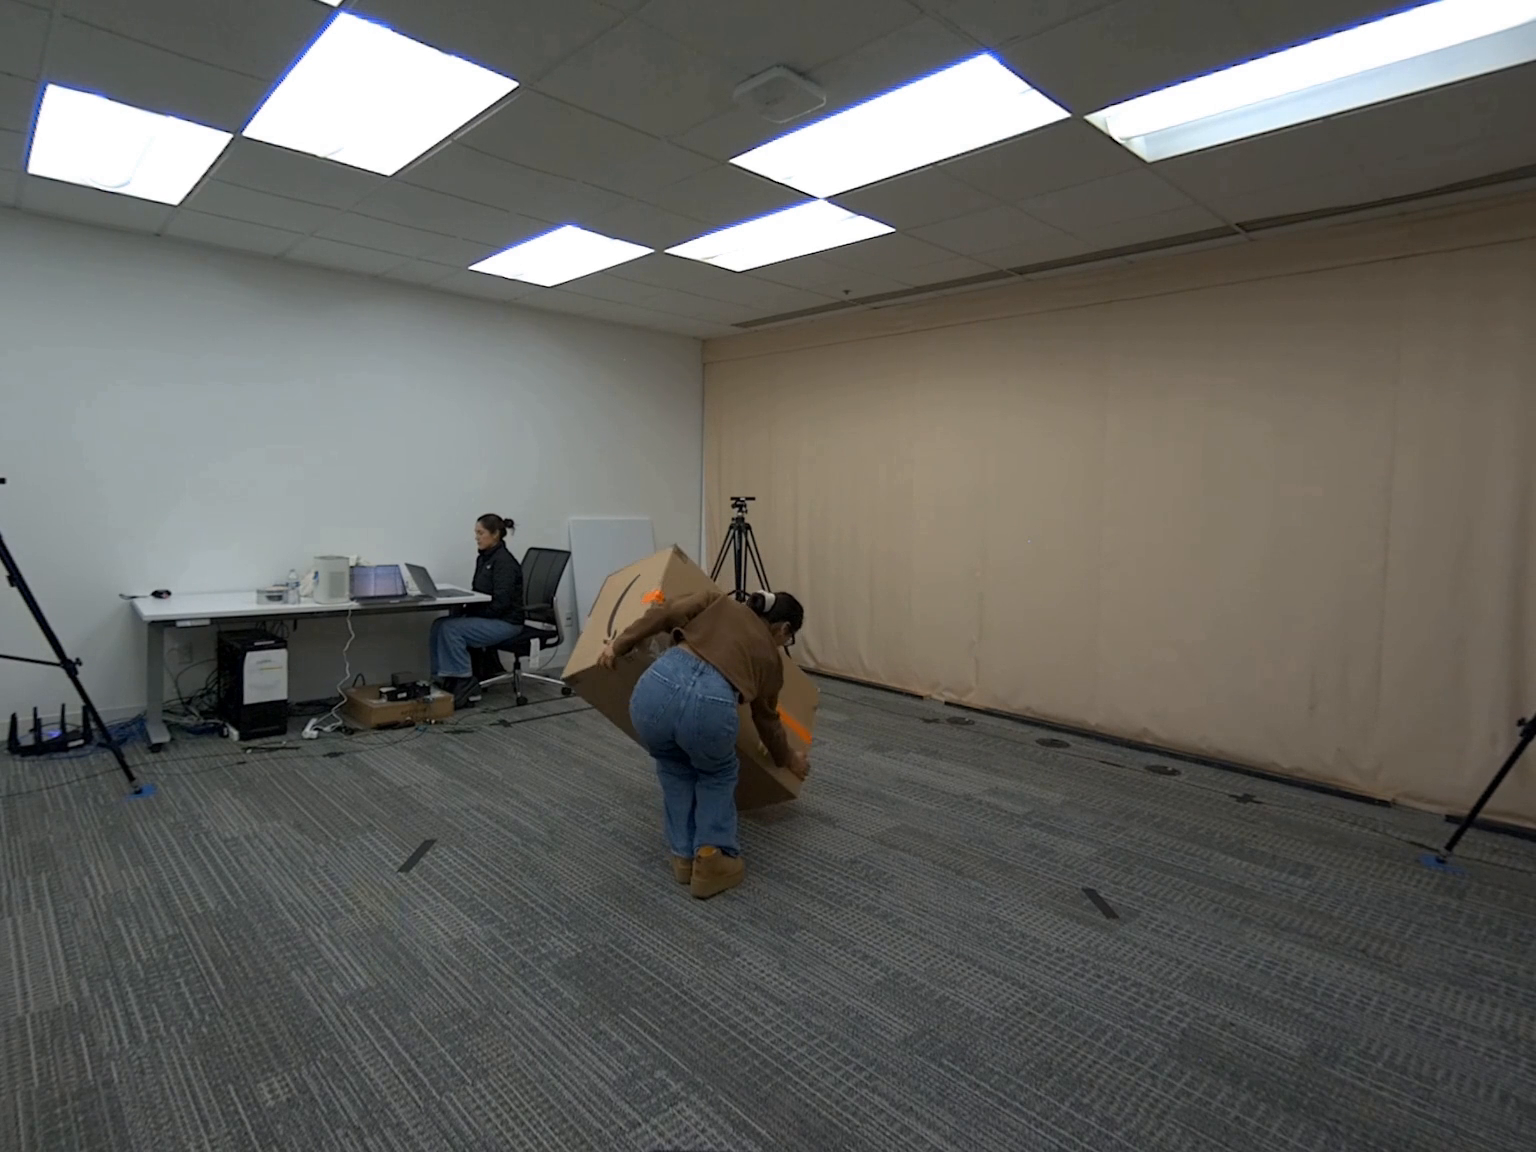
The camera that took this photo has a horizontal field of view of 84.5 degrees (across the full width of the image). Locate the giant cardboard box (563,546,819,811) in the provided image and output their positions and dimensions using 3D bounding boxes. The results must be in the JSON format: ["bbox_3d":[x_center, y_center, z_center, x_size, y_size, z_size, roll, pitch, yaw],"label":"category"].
[{"bbox_3d":[-0.280,0.457,3.567,0.431,1.000,0.585,-24,32,35],"label":"giant cardboard box"}]
